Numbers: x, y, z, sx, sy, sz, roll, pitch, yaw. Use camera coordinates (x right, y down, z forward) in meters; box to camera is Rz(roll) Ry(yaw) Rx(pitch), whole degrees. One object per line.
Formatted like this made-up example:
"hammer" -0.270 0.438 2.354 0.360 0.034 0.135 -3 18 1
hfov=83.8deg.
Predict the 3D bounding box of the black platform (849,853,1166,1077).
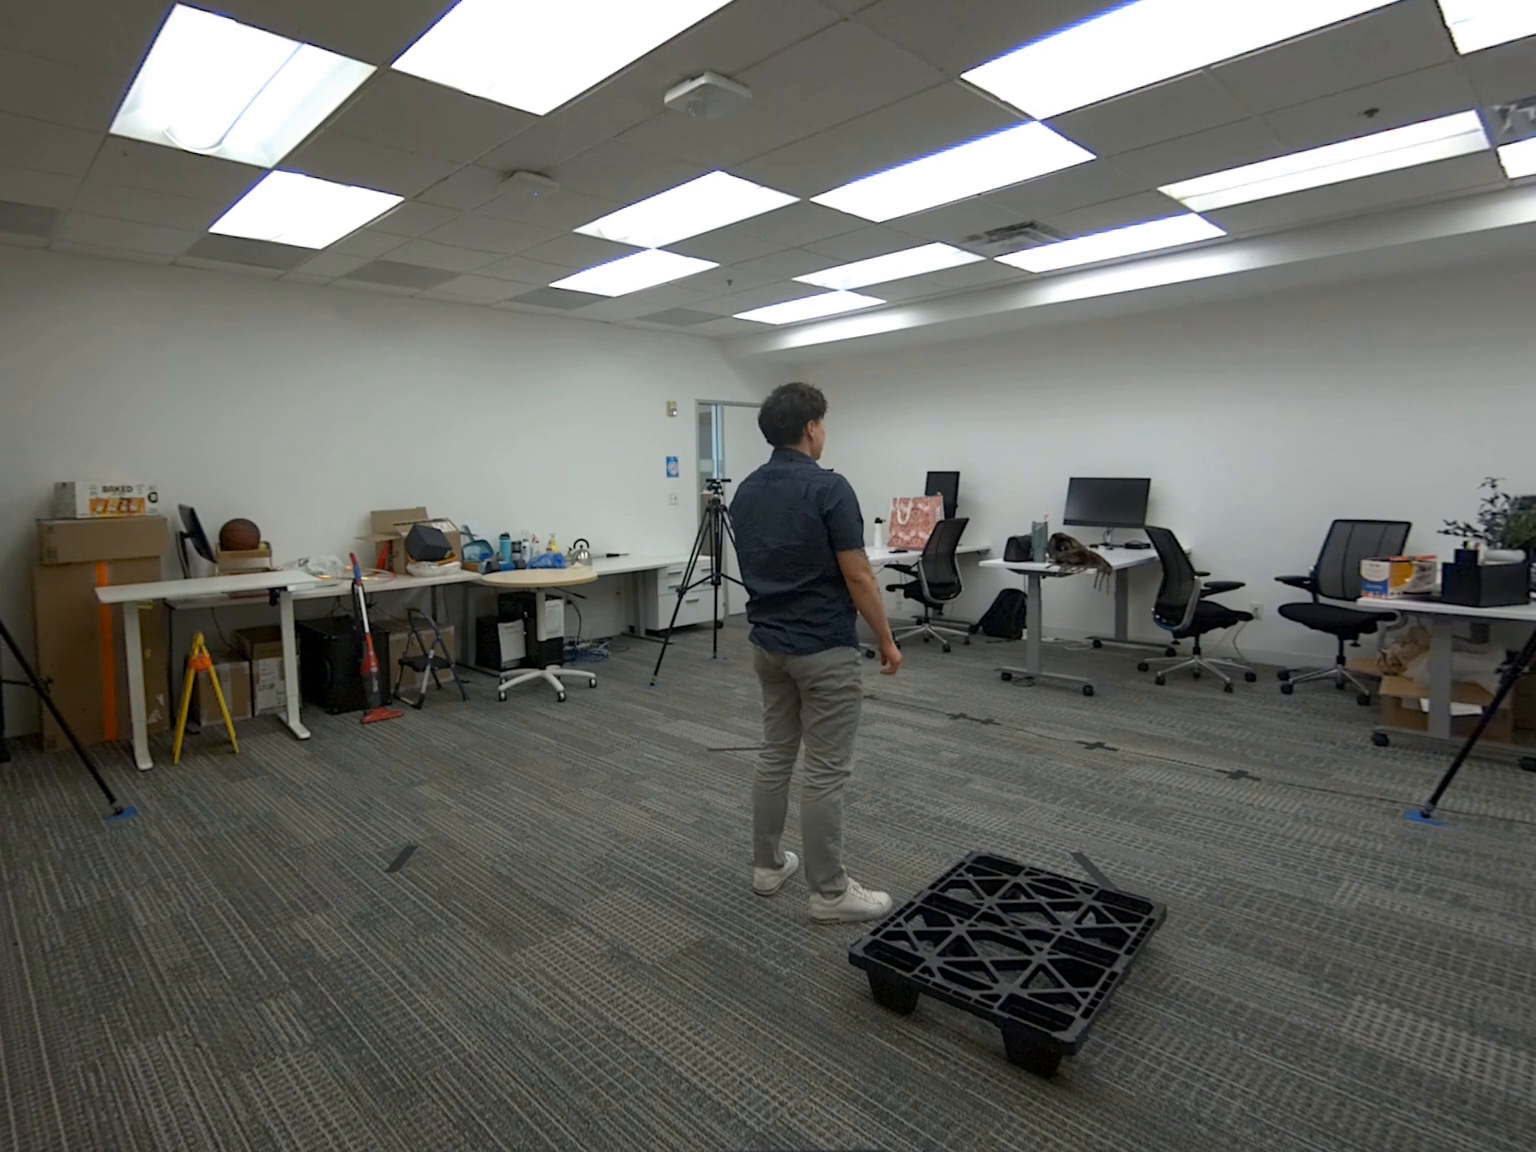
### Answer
"black platform" 0.702 1.050 2.391 0.624 0.142 0.785 5 9 39
